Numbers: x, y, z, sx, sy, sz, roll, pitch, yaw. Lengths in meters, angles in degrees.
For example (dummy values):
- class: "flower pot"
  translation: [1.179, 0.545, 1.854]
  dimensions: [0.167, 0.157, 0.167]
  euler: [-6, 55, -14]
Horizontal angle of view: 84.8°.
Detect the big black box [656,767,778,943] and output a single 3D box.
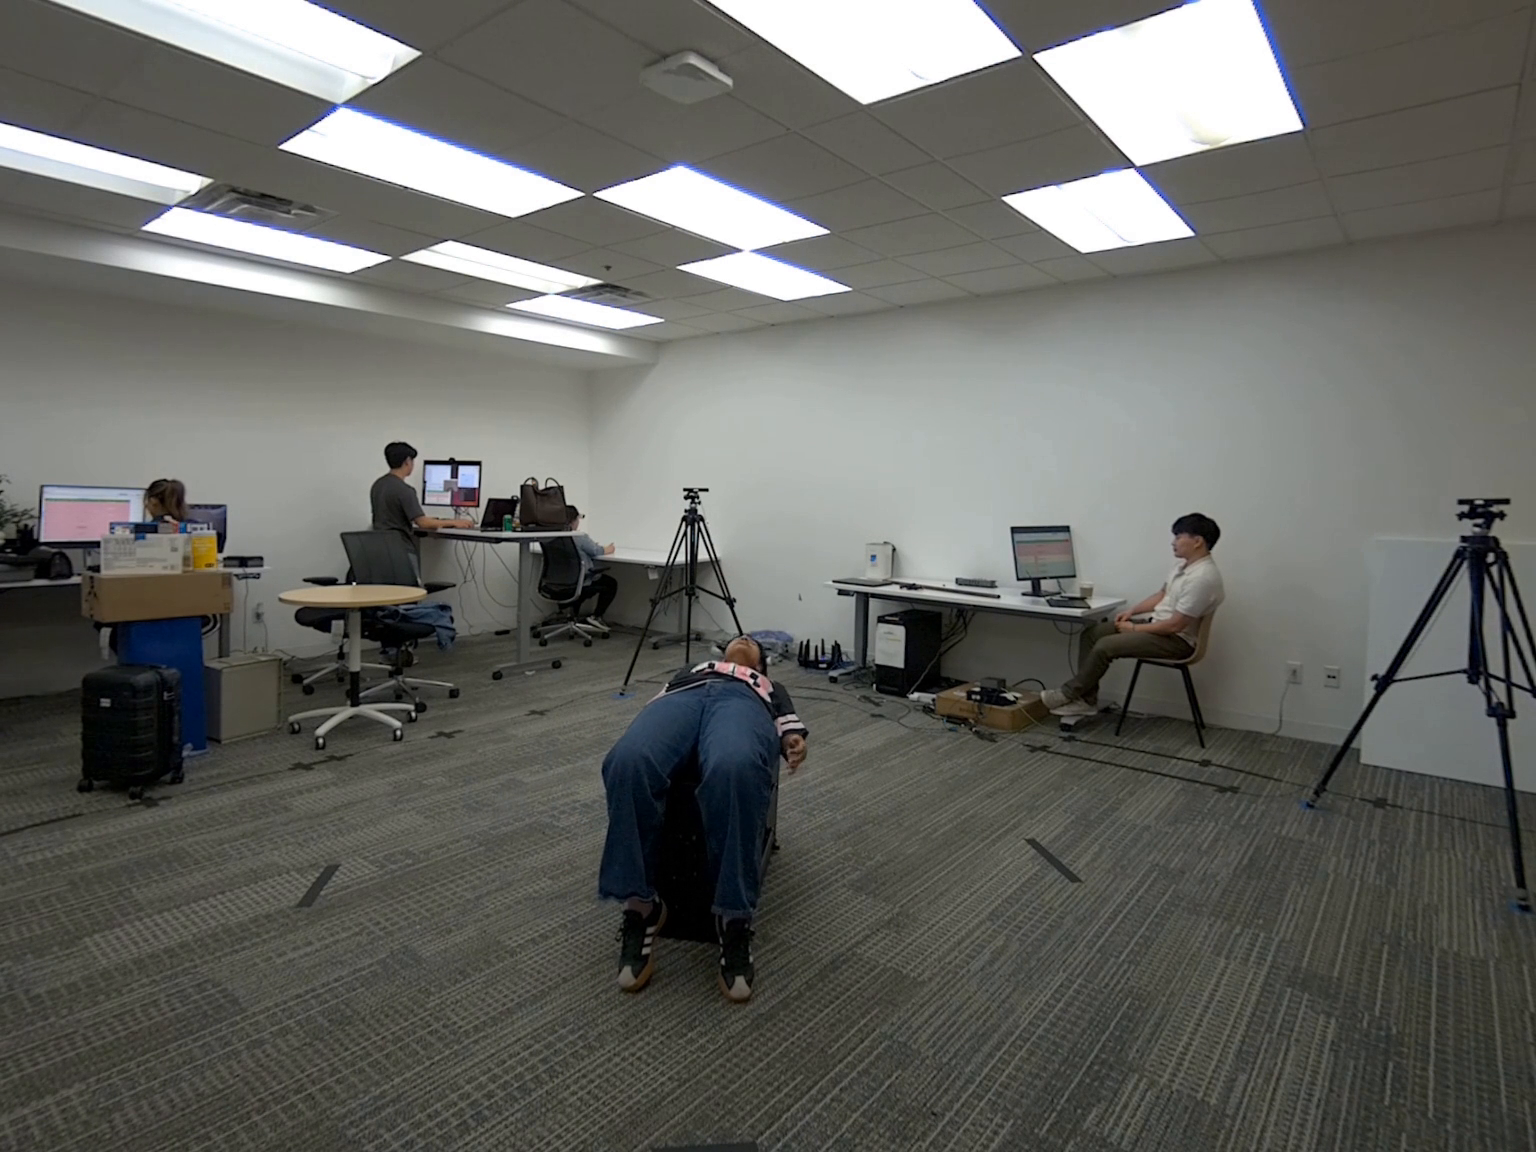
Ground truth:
- class: "big black box"
  translation: [-0.189, 0.820, 3.009]
  dimensions: [0.389, 0.522, 0.862]
  euler: [0, 4, 9]
